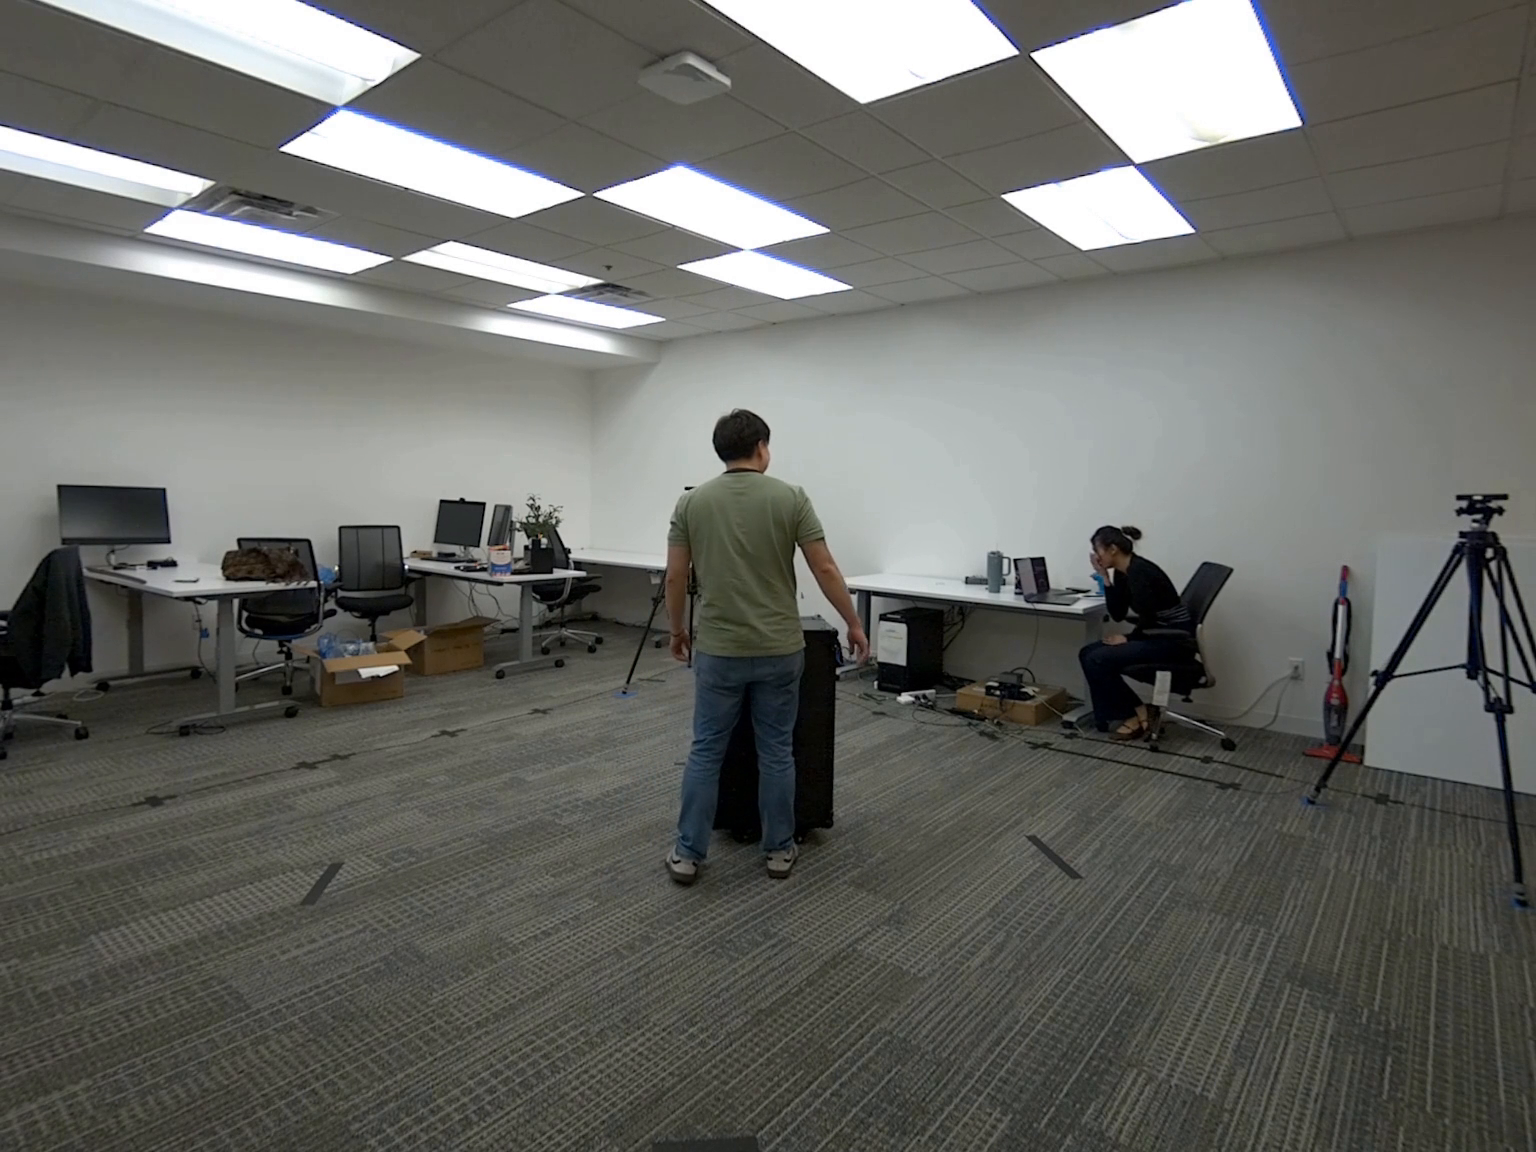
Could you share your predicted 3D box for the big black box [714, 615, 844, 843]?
[{"bbox_3d":[0.000,0.607,3.451,0.519,0.858,0.399,1,4,-4],"label":"big black box"}]
